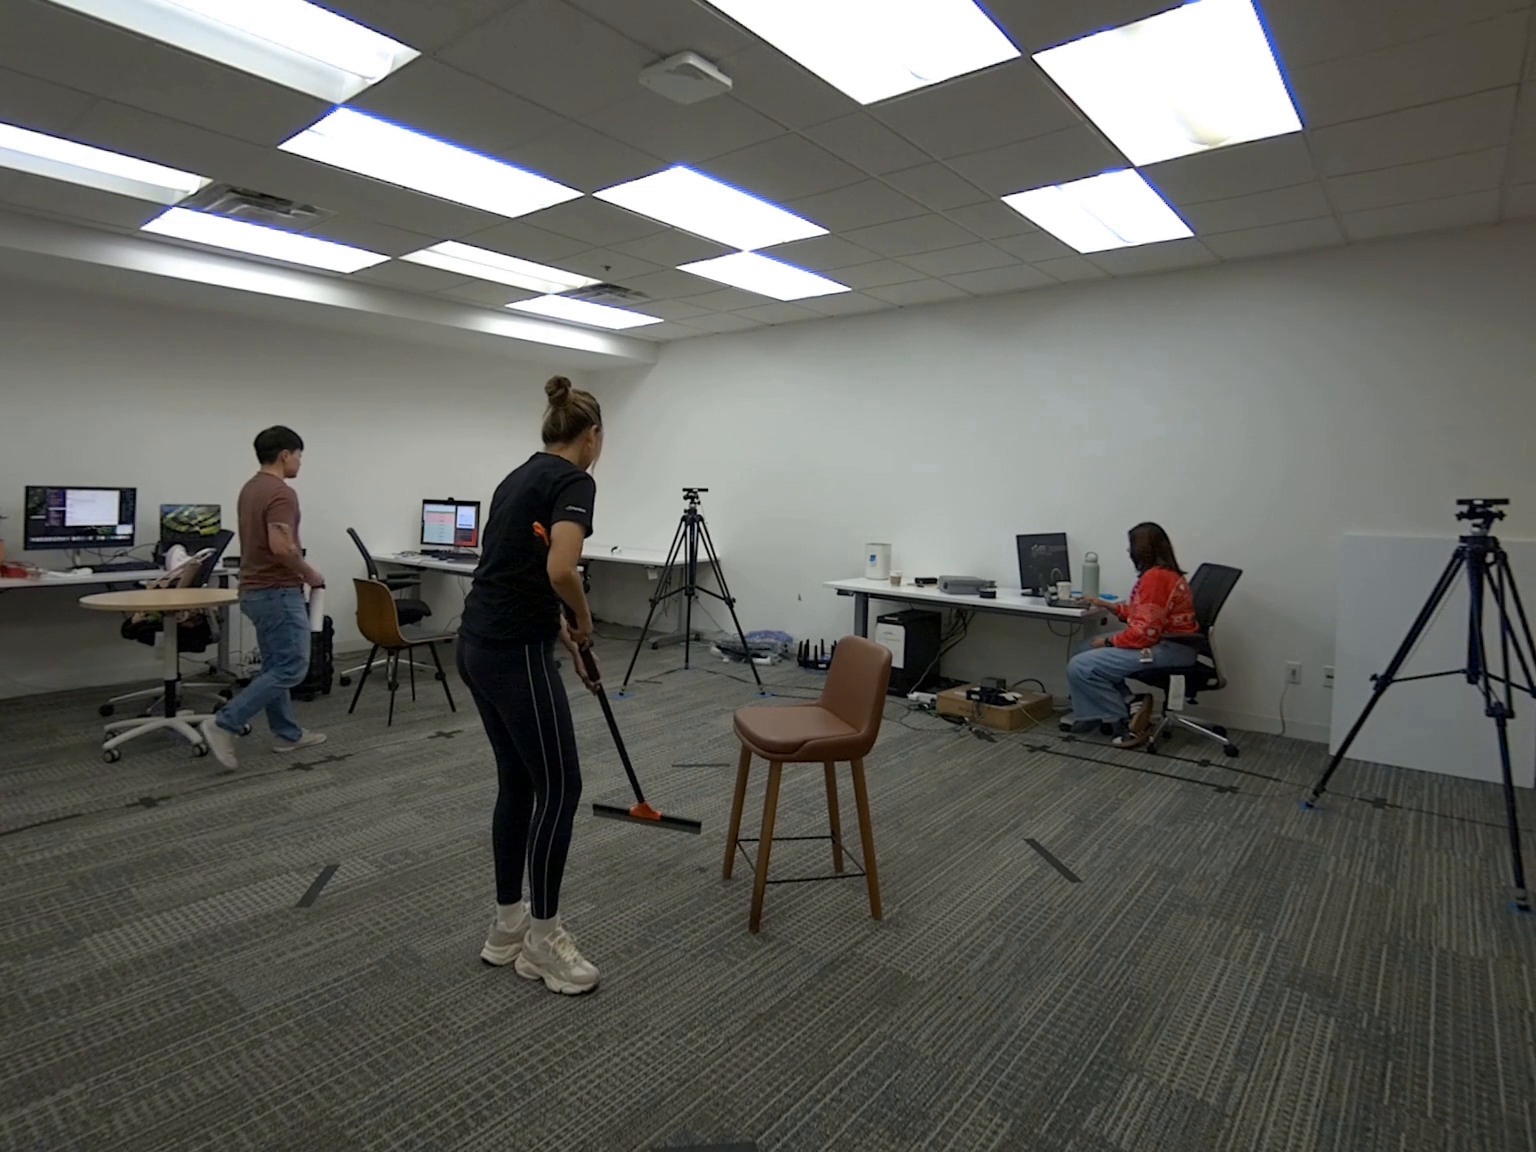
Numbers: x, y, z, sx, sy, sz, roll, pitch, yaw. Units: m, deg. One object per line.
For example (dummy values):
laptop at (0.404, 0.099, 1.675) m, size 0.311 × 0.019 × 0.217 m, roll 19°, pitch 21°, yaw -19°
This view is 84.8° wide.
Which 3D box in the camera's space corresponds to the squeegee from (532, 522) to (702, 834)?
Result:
squeegee at (-0.538, 0.407, 2.722) m, size 0.445 × 1.486 × 0.054 m, roll 6°, pitch 48°, yaw 14°
